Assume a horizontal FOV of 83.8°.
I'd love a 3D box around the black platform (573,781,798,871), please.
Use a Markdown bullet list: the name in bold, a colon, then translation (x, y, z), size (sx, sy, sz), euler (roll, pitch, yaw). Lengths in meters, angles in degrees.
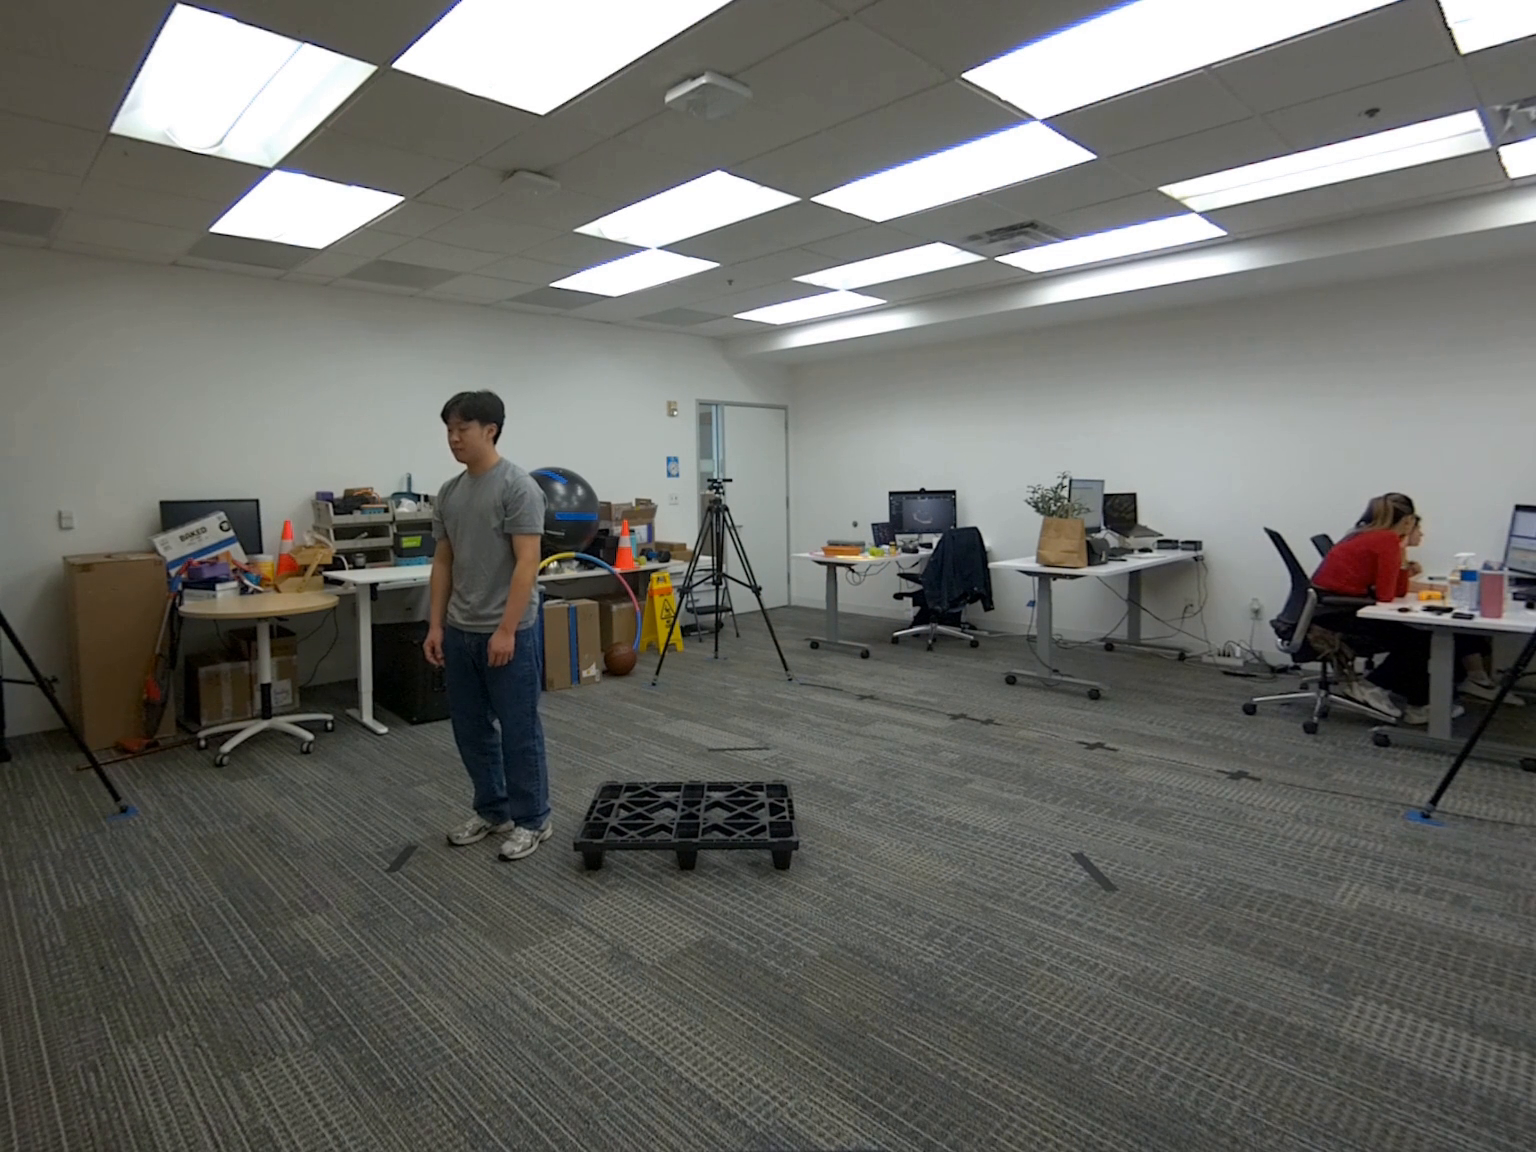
- **black platform**: translation (-0.294, 0.959, 3.285), size (0.806, 0.142, 0.608), euler (-1, 7, 1)
